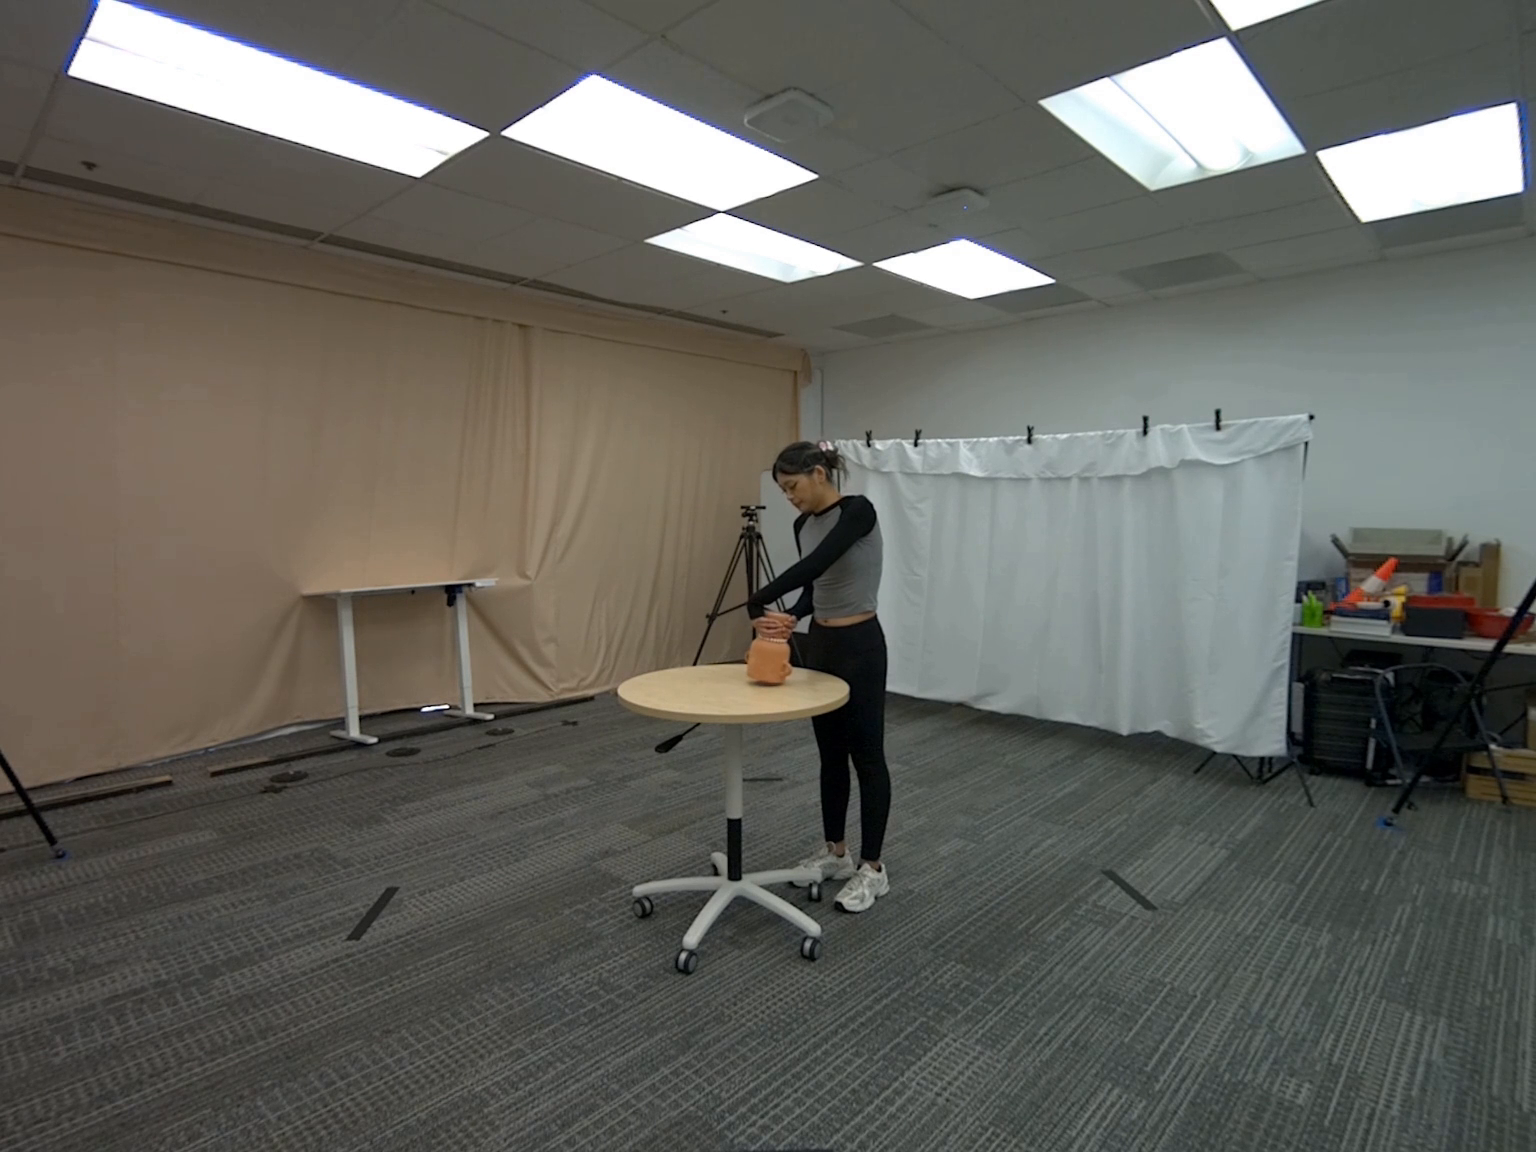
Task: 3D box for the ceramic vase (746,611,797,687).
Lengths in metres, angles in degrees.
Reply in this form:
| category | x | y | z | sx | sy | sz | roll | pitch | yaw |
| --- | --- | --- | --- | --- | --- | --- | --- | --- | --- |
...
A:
| category | x | y | z | sx | sy | sz | roll | pitch | yaw |
| --- | --- | --- | --- | --- | --- | --- | --- | --- | --- |
| ceramic vase | 0.017 | 0.236 | 2.824 | 0.159 | 0.219 | 0.135 | 8 | 4 | -2 |
